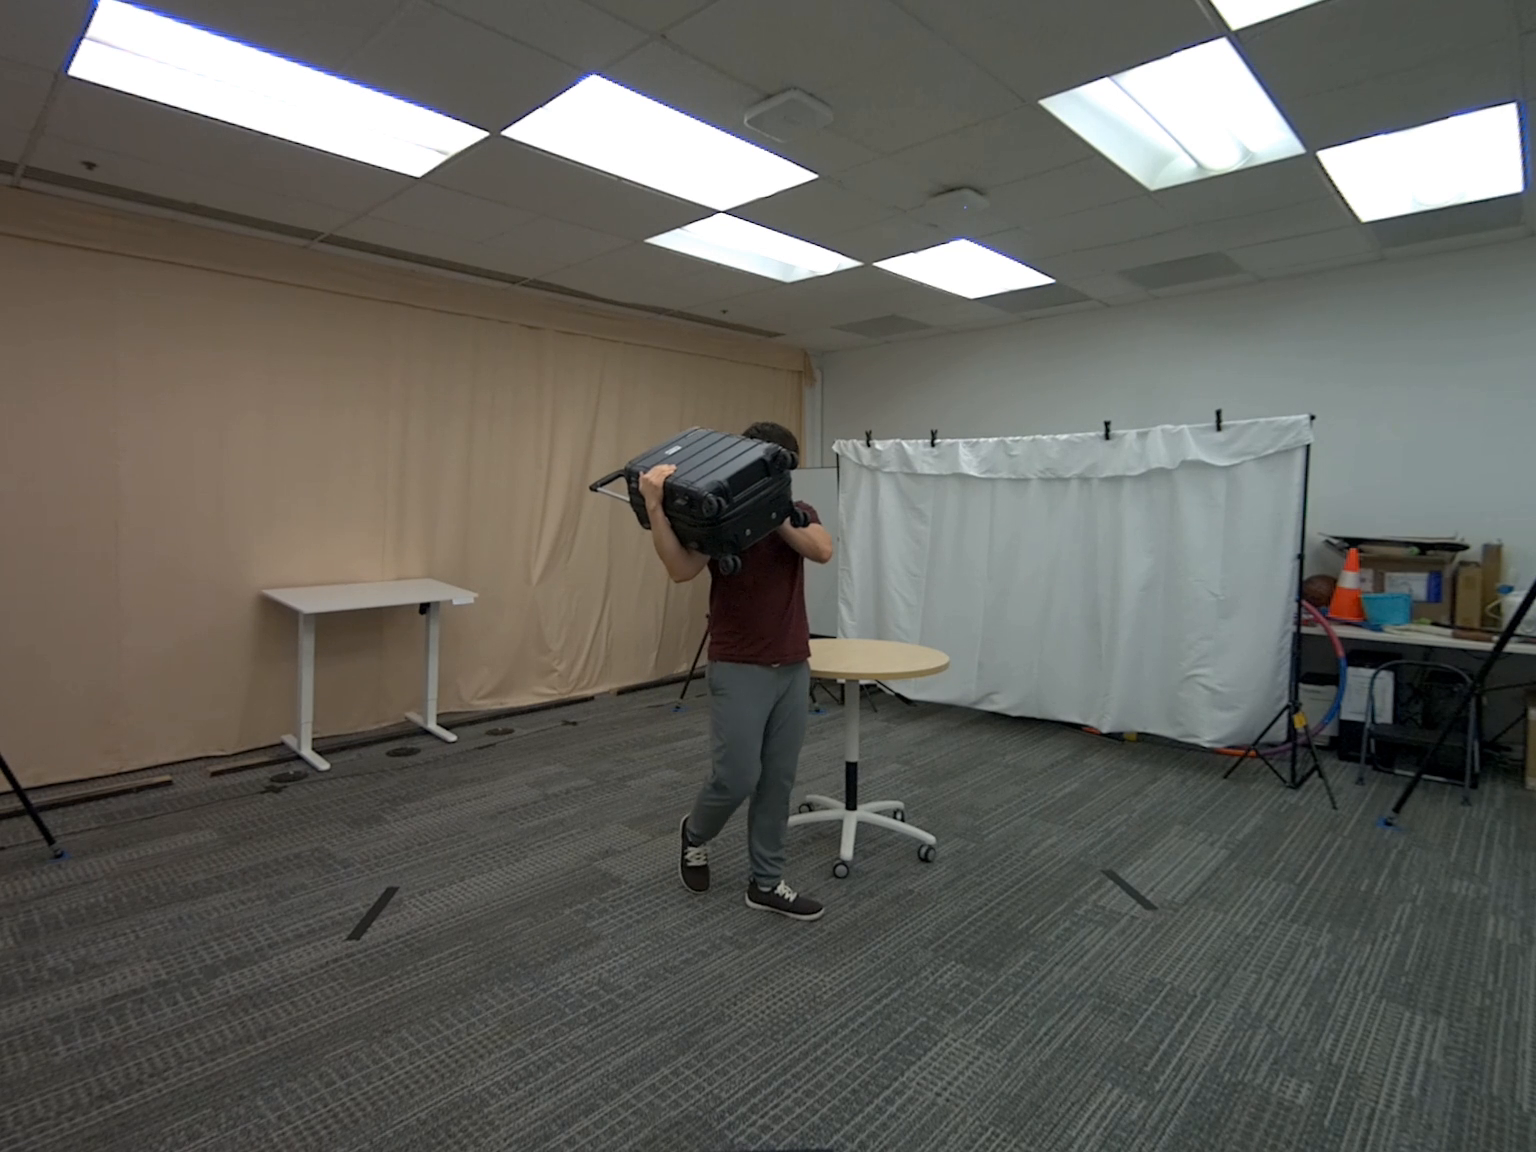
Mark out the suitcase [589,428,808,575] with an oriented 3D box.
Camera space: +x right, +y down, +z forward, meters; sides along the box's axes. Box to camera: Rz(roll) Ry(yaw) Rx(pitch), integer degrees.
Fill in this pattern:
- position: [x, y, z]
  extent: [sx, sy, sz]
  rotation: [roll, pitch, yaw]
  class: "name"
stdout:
- position: [-0.321, -0.331, 2.823]
  extent: [0.379, 0.251, 1.015]
  rotation: [-34, 36, -27]
  class: "suitcase"
